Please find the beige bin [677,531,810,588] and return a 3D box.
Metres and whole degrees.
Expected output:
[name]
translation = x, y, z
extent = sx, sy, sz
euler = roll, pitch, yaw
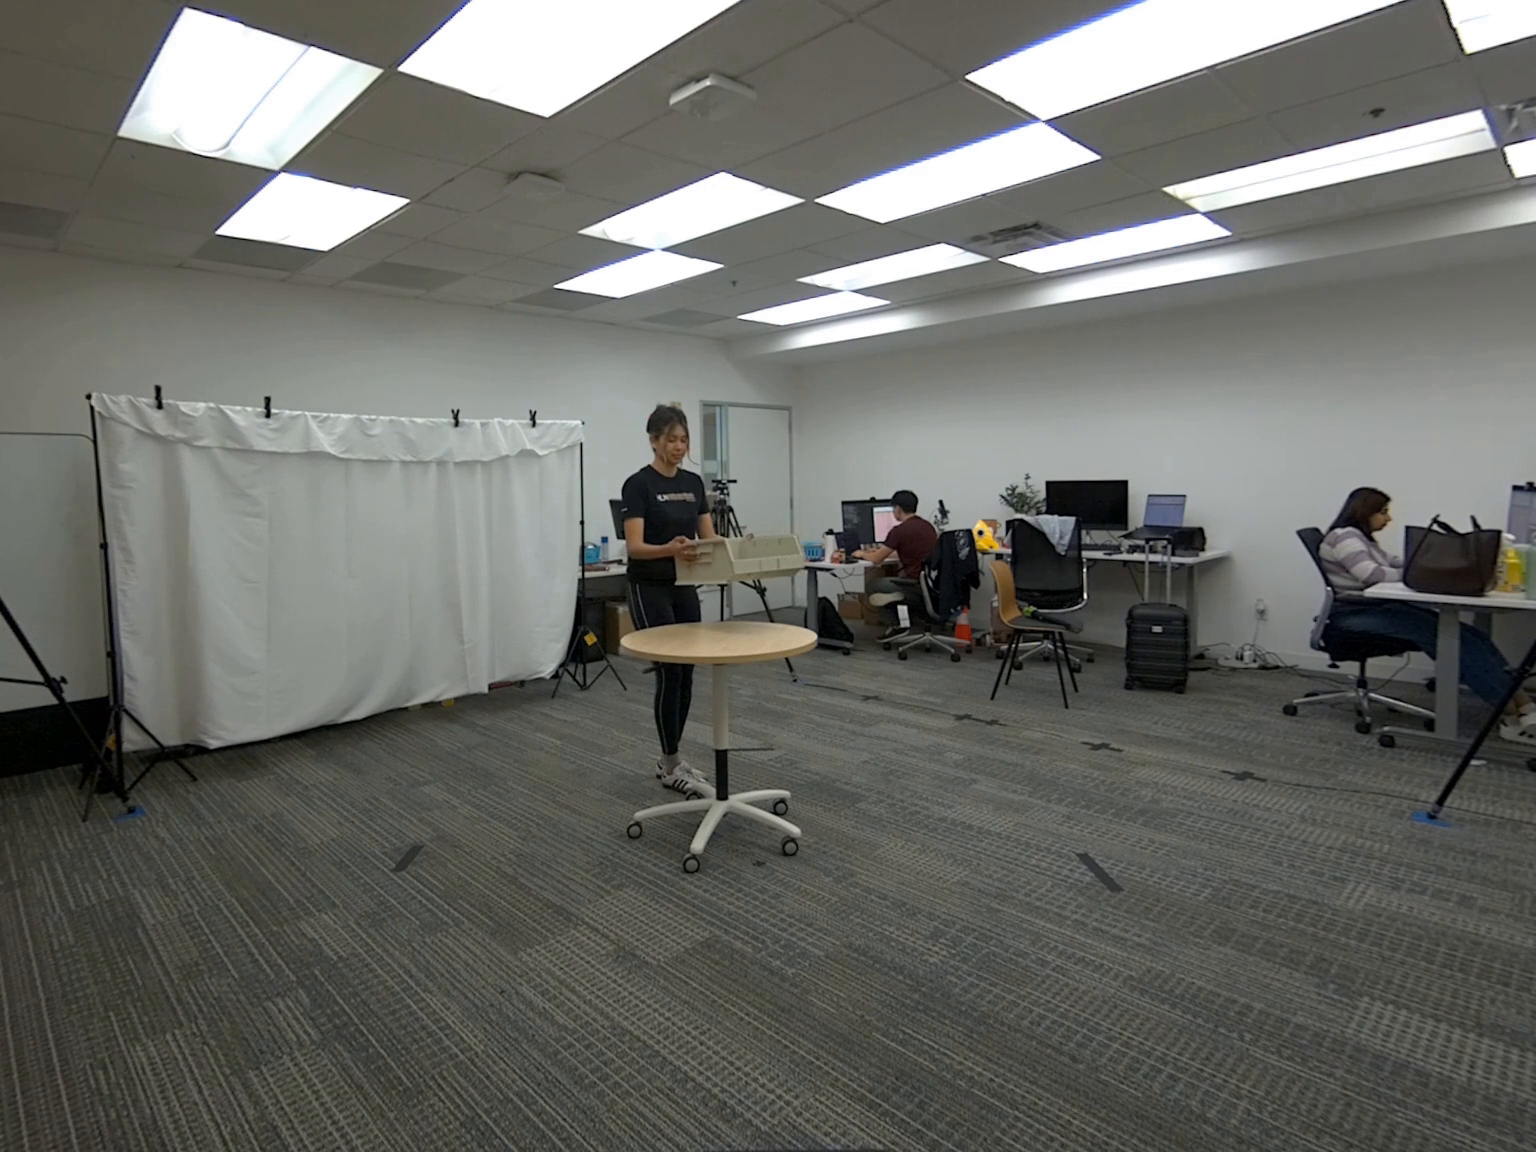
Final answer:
[beige bin]
translation = -0.118, -0.069, 3.552
extent = 0.411, 0.189, 0.387
euler = -6, 2, -44
